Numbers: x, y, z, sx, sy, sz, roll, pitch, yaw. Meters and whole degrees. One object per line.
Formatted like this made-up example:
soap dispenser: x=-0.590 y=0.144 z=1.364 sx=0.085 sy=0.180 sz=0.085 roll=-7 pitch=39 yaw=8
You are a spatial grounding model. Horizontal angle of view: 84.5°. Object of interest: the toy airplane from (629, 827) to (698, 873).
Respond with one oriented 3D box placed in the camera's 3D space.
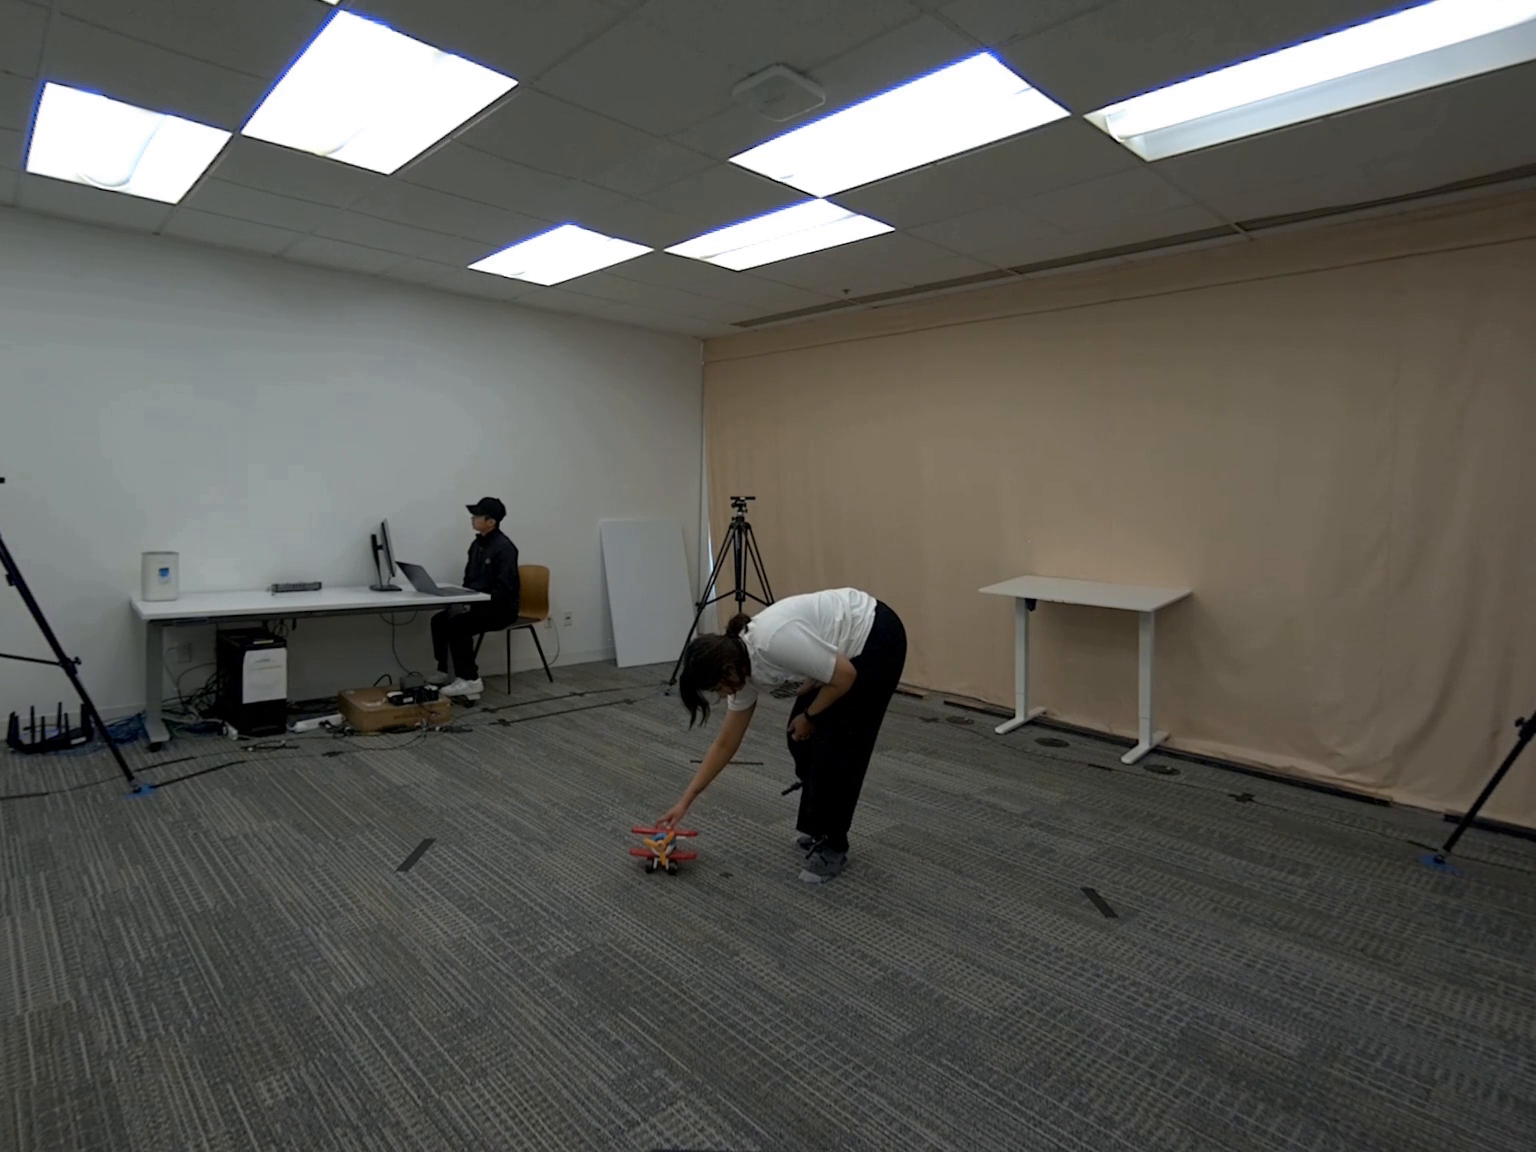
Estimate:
toy airplane: x=-0.413 y=1.015 z=3.189 sx=0.247 sy=0.156 sz=0.264 roll=-2 pitch=7 yaw=-23
